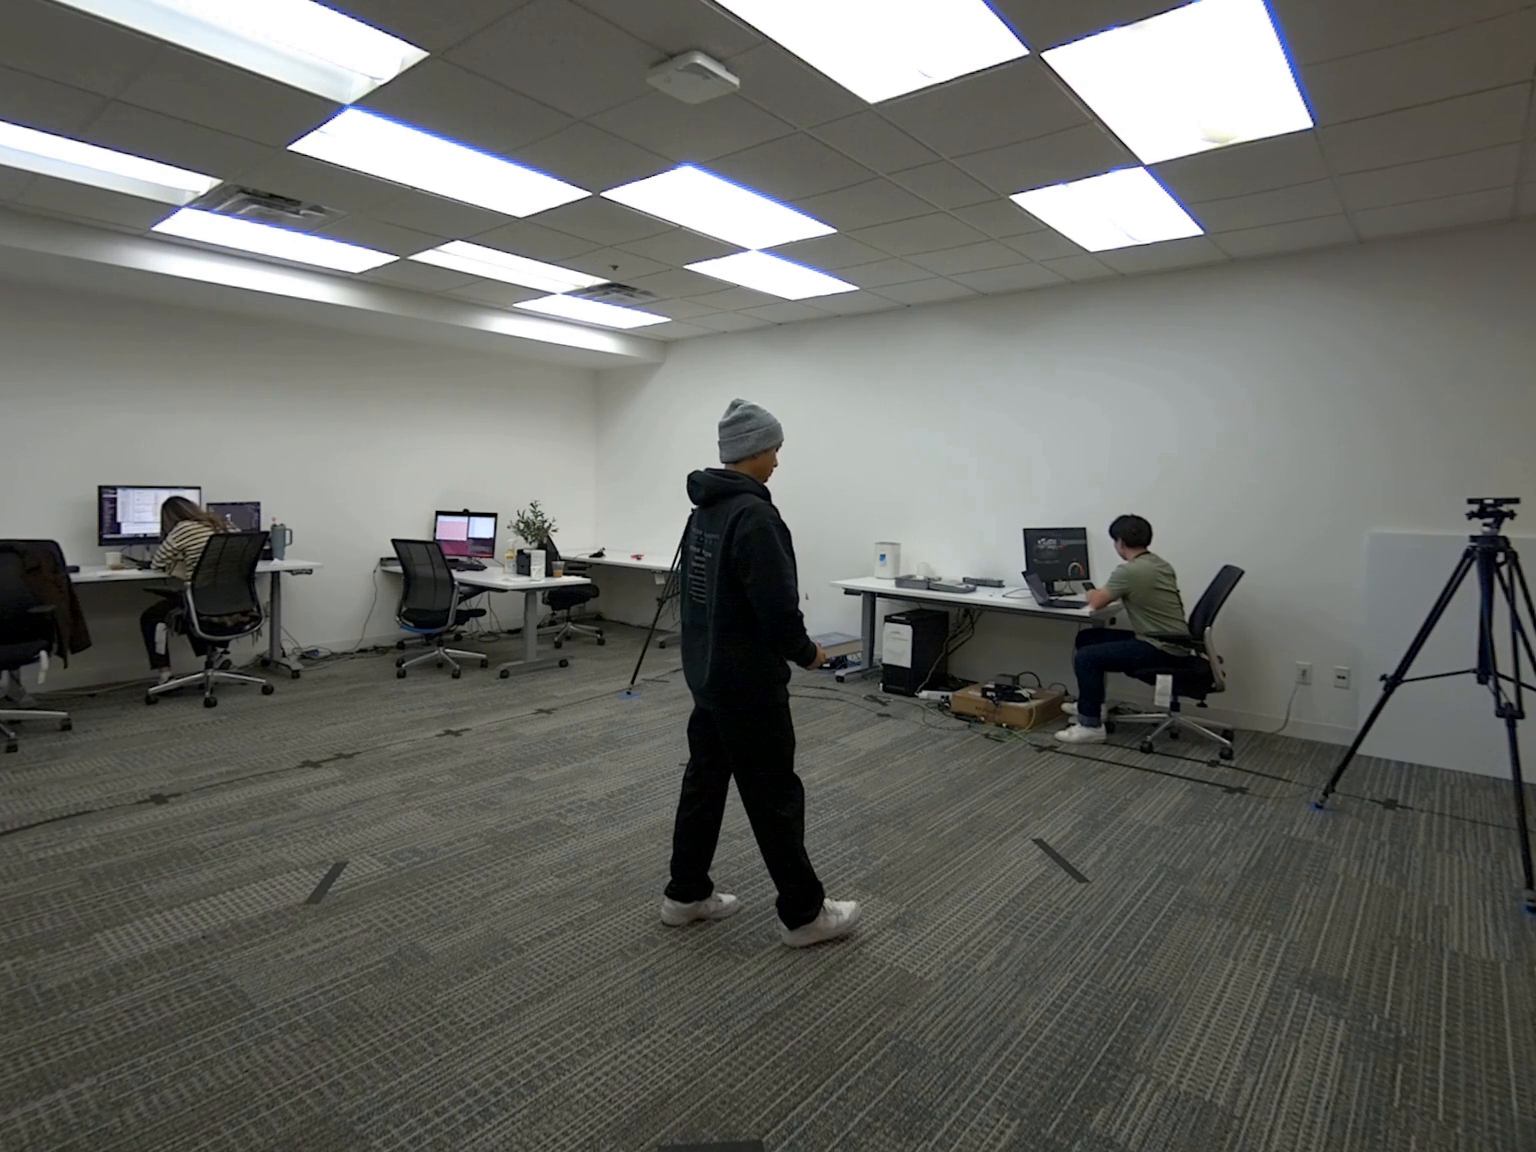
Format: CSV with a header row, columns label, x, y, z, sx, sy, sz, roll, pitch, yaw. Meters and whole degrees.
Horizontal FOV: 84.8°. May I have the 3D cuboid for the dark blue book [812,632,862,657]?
label,x,y,z,sx,sy,sz,roll,pitch,yaw
dark blue book,0.174,0.239,2.801,0.239,0.045,0.168,-8,9,-30
